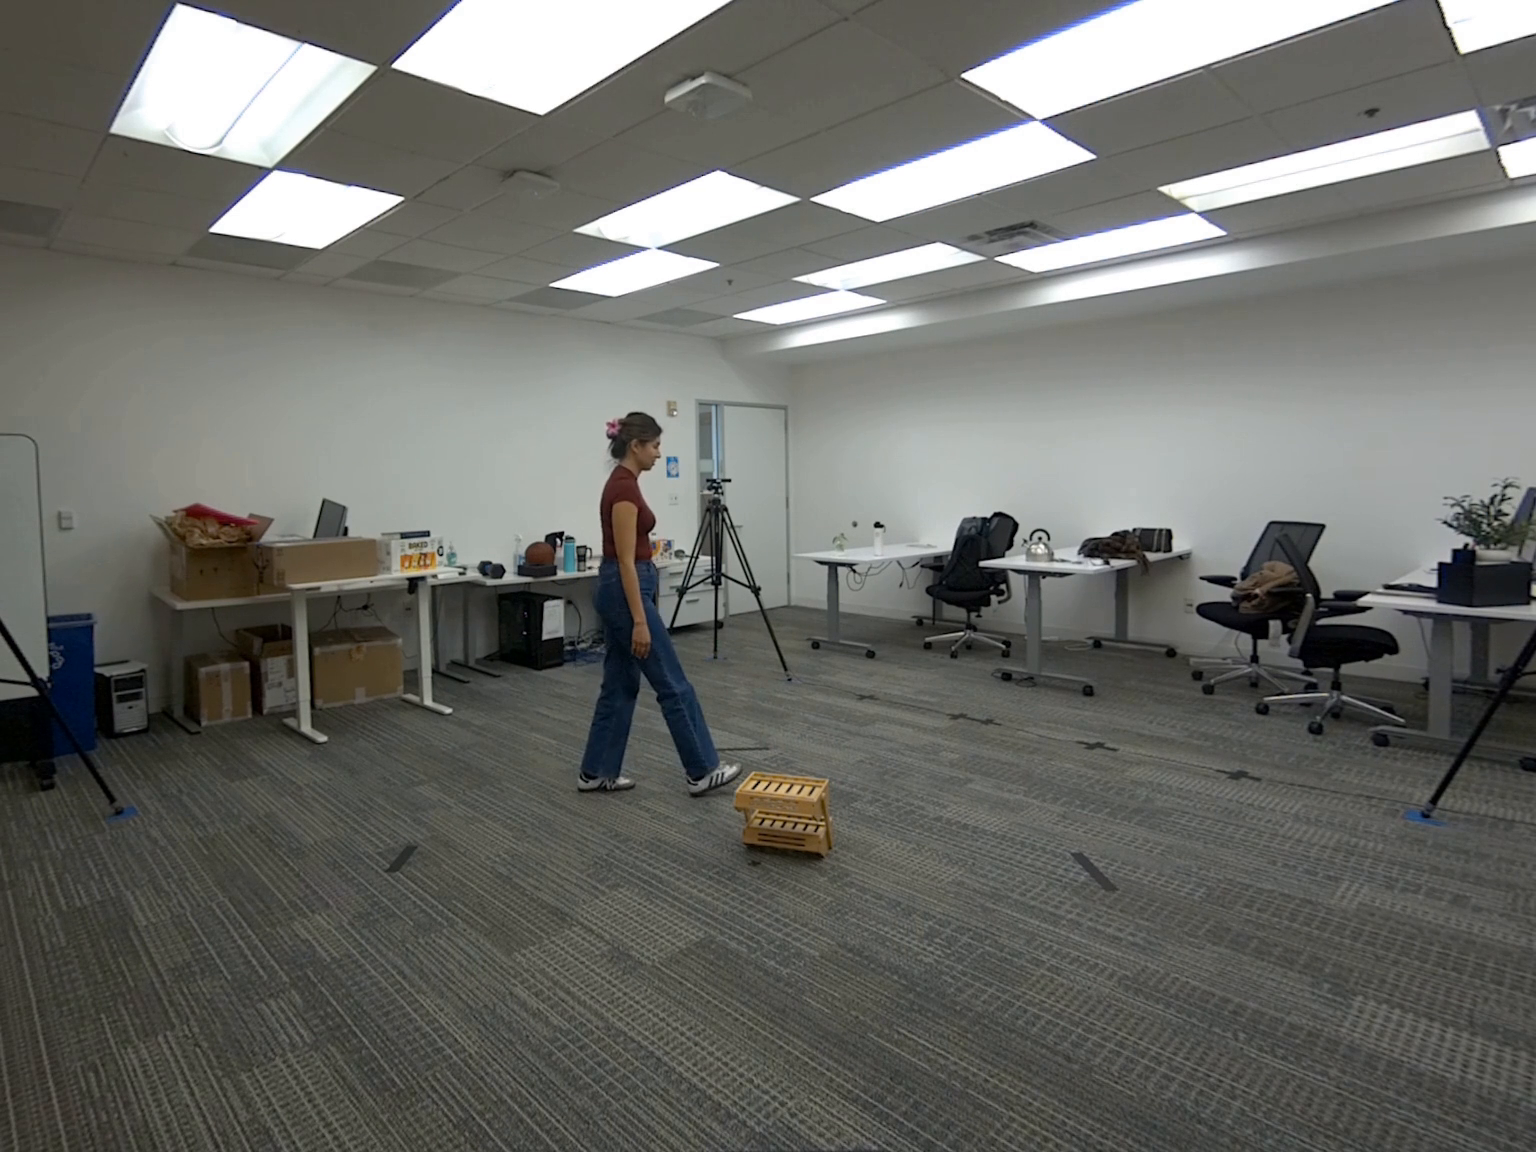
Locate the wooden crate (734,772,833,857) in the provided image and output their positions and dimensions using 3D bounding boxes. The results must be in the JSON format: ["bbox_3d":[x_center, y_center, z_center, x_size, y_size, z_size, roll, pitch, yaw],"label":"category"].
[{"bbox_3d":[0.064,0.906,3.184,0.330,0.272,0.298,1,6,18],"label":"wooden crate"}]
